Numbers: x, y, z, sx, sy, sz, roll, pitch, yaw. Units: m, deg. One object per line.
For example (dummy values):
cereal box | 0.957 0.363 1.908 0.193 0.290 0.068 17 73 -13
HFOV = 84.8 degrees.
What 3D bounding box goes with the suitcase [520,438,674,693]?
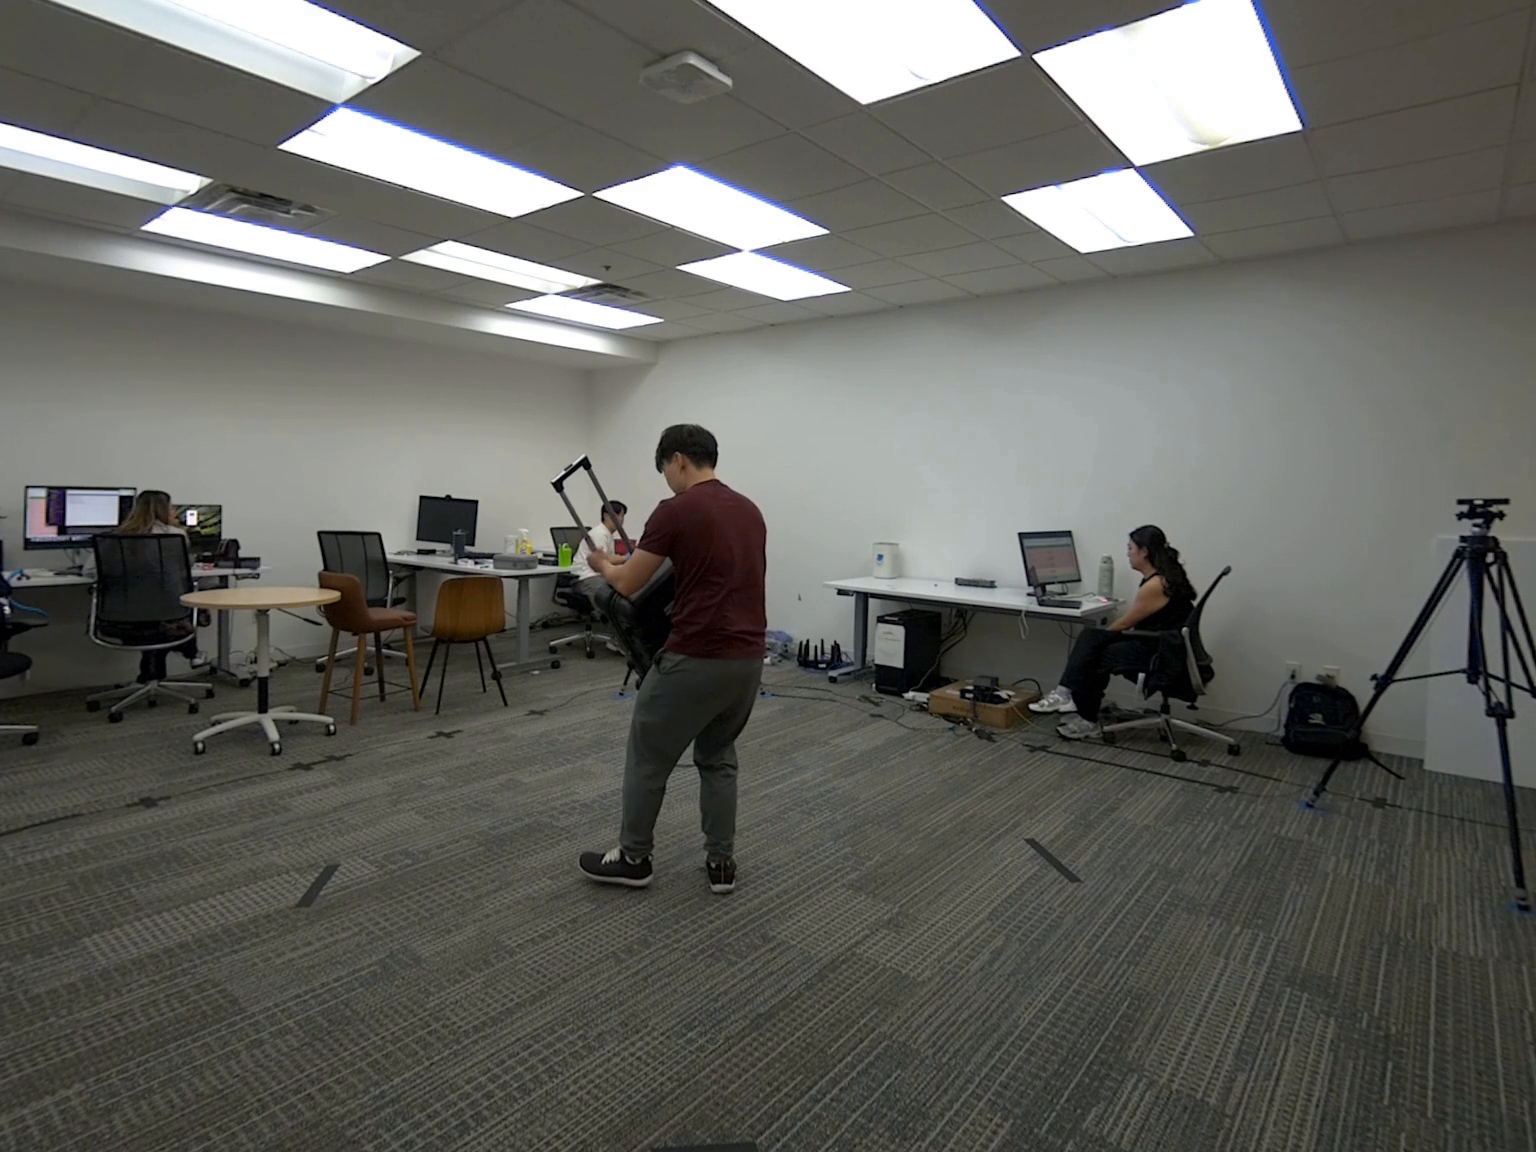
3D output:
suitcase | -0.477 0.018 3.105 0.267 0.943 0.383 20 54 43
